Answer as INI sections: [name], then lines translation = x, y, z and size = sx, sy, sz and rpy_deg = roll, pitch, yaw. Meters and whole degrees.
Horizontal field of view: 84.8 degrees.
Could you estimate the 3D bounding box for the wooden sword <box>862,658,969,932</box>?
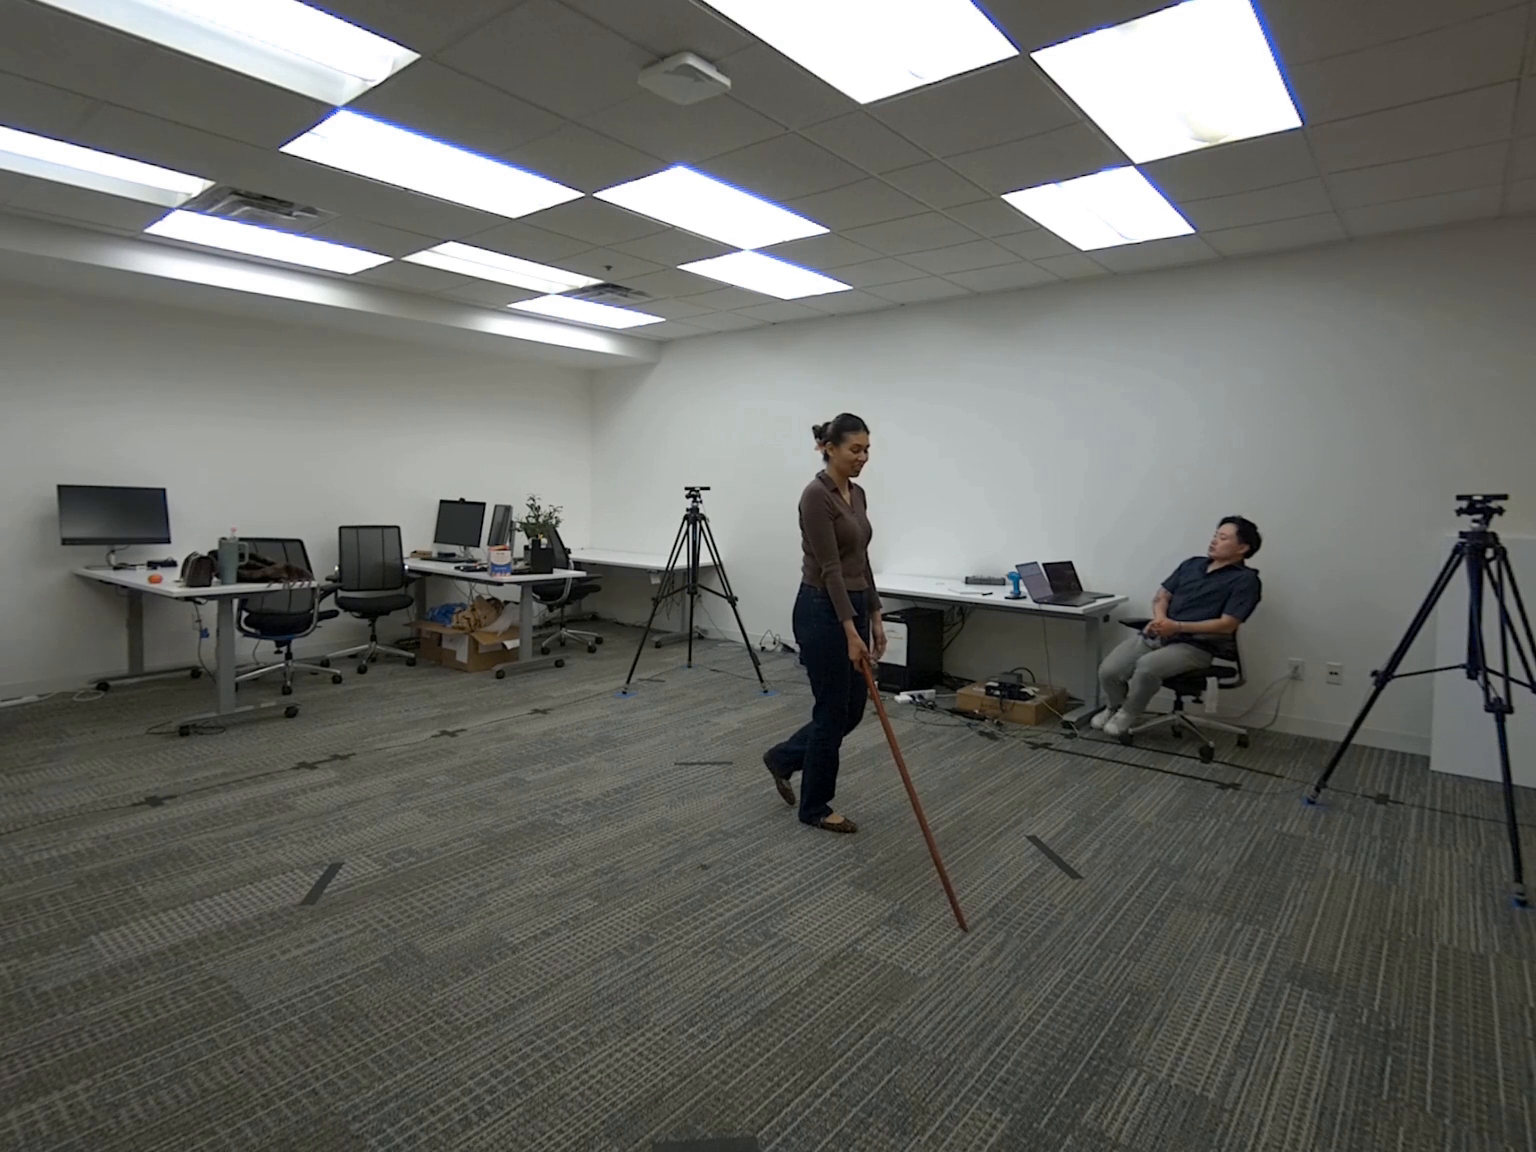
[wooden sword]
translation = 0.490, 0.705, 2.986
size = 0.024, 1.060, 0.049
rpy_deg = -33, -33, 19
